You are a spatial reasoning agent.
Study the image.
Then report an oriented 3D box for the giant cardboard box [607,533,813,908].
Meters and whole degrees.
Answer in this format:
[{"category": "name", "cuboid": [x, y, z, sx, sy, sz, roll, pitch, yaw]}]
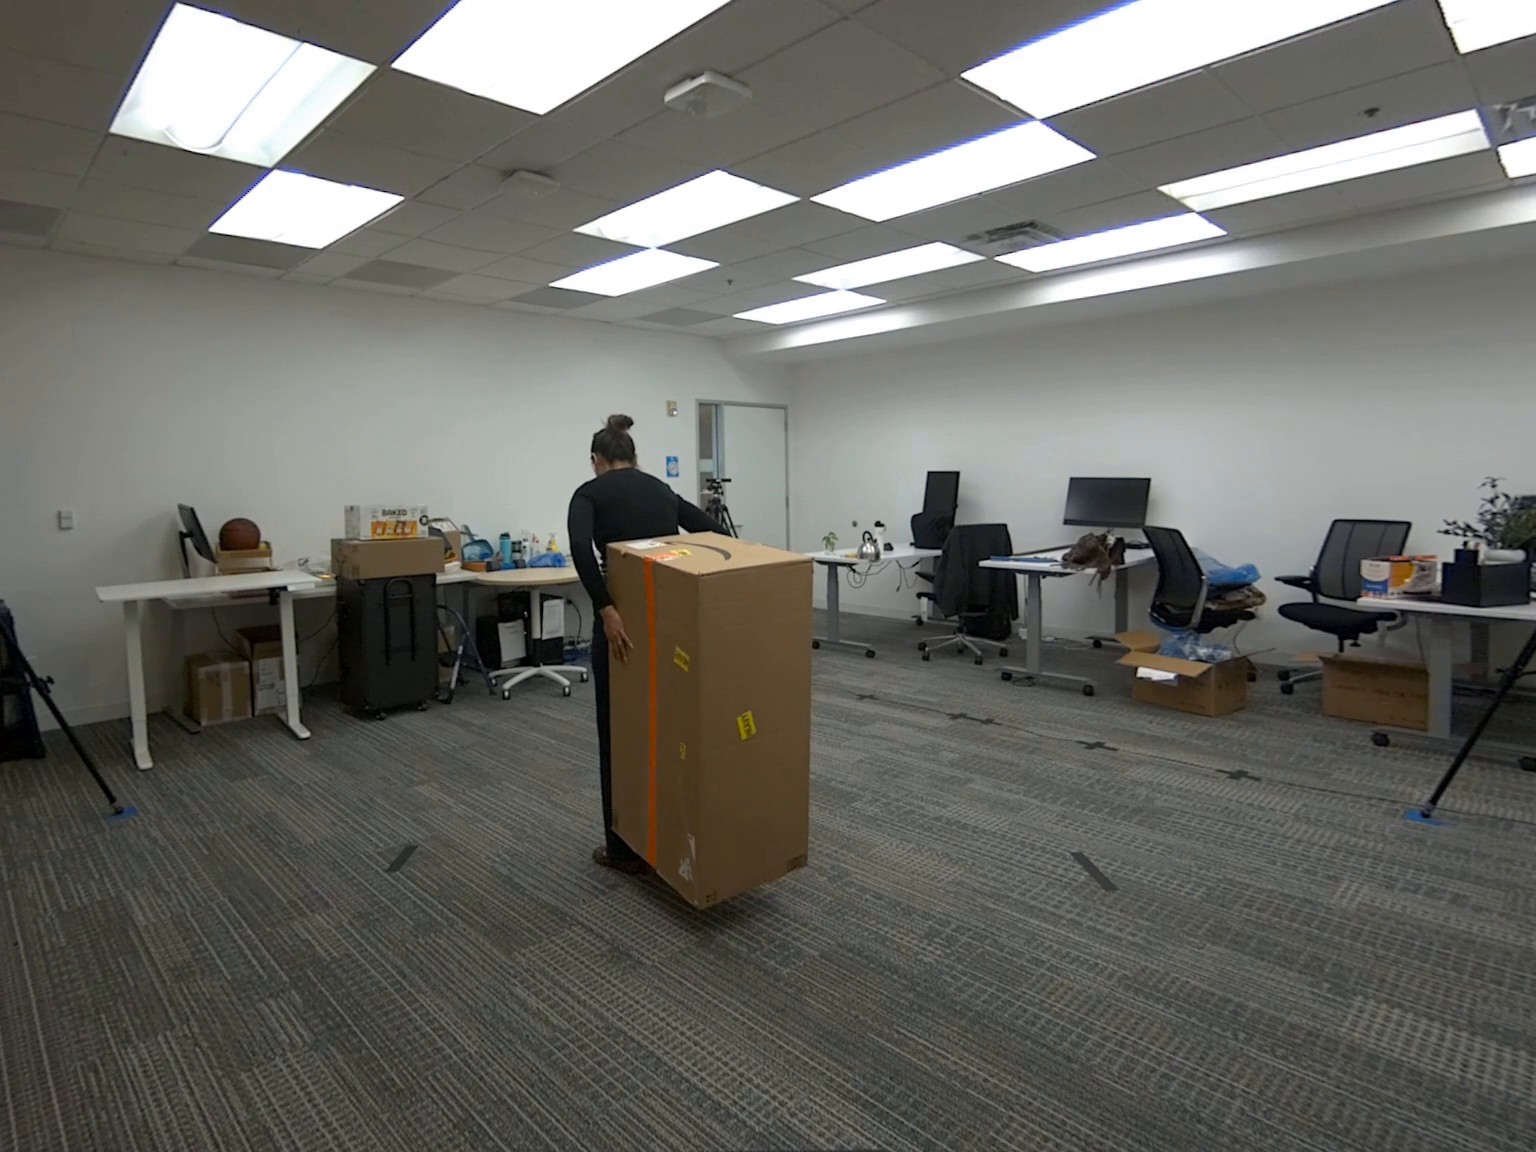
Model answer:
[{"category": "giant cardboard box", "cuboid": [-0.195, 0.430, 2.786, 0.416, 1.016, 0.597, -6, 13, -35]}]
